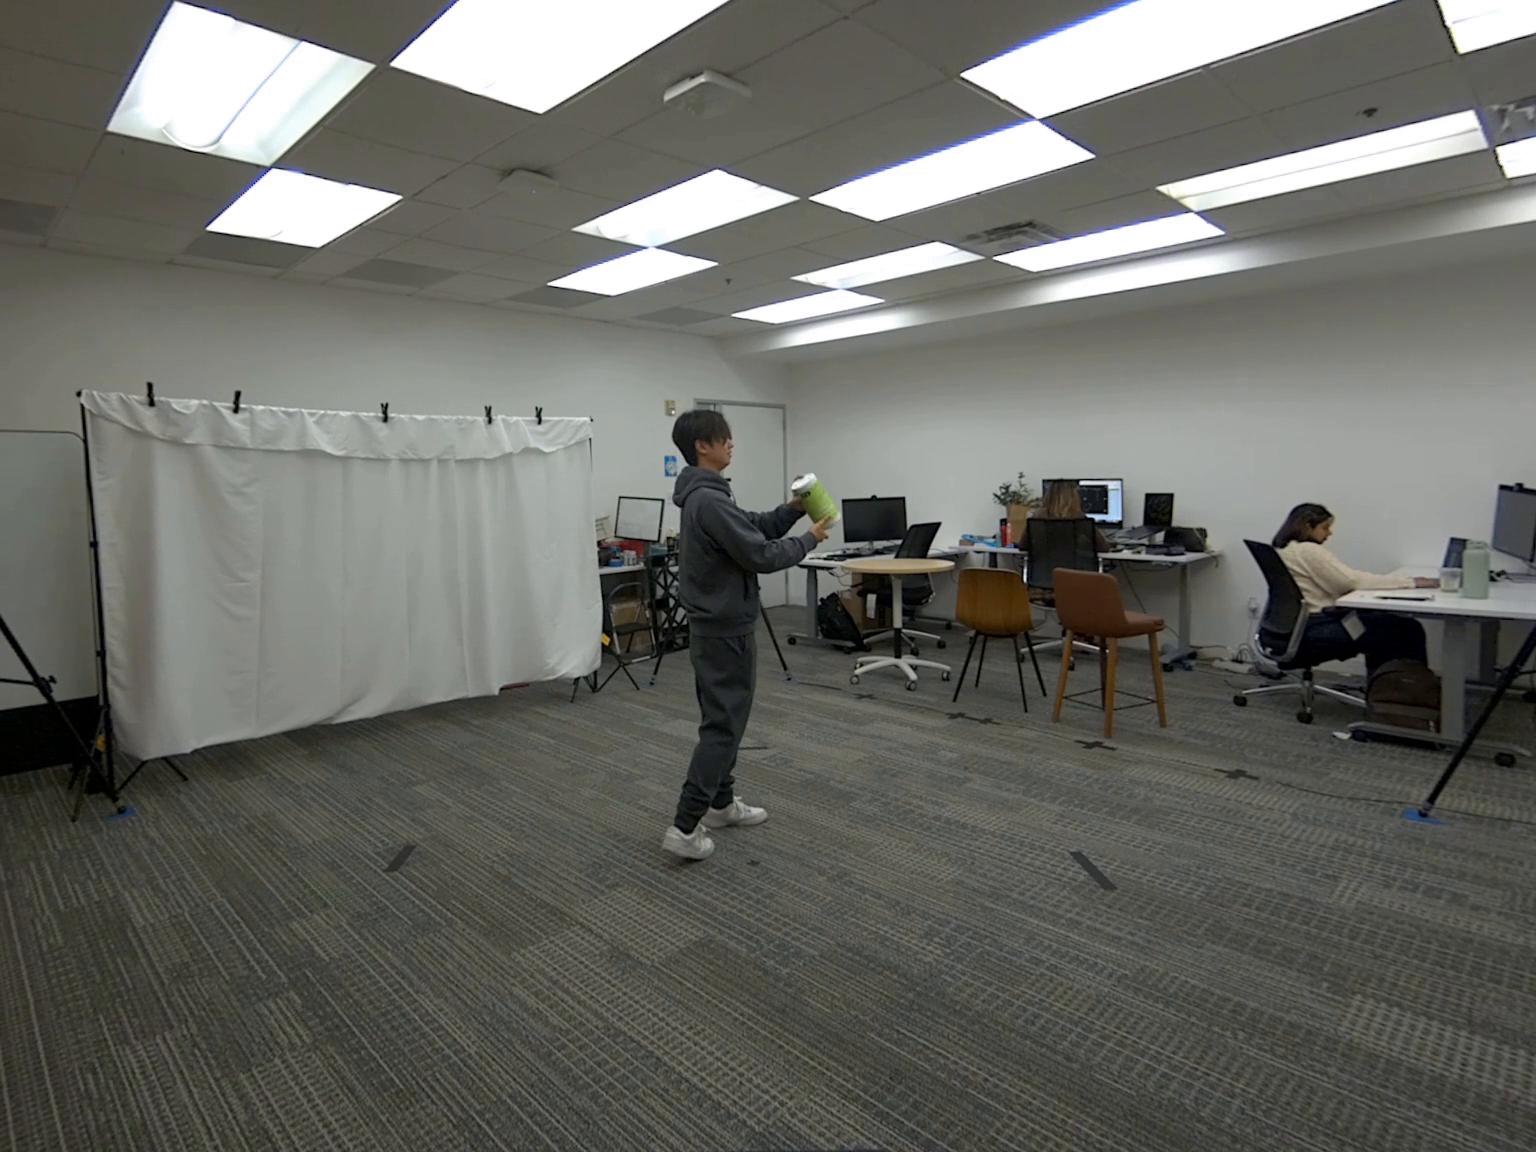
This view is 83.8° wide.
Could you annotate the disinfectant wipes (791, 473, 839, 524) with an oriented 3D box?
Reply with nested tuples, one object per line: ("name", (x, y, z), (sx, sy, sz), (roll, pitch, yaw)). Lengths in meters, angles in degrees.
("disinfectant wipes", (0.183, -0.288, 3.379), (0.118, 0.213, 0.120), (-31, 18, 10))
